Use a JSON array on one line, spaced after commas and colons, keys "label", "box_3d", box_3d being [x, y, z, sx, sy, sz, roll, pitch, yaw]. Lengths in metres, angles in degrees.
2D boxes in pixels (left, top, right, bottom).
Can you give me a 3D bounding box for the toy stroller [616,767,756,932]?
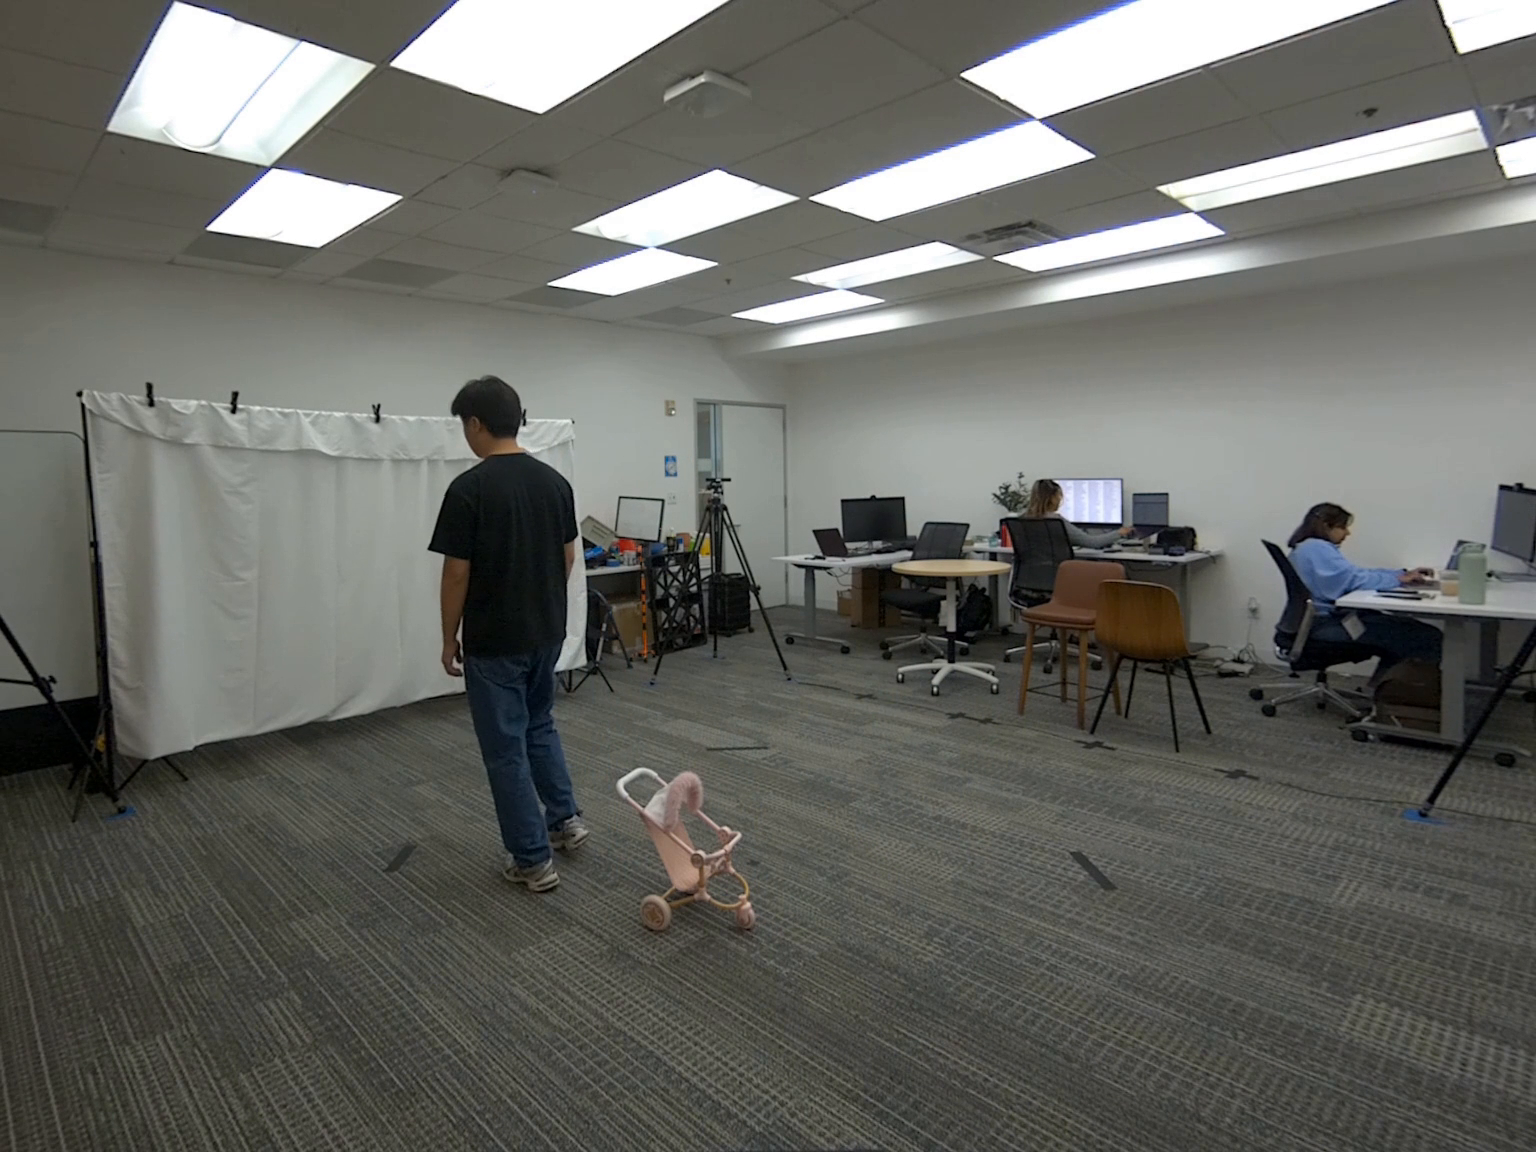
[{"label": "toy stroller", "box_3d": [-0.245, 0.867, 2.720, 0.347, 0.537, 0.275, -18, -4, 30]}]
